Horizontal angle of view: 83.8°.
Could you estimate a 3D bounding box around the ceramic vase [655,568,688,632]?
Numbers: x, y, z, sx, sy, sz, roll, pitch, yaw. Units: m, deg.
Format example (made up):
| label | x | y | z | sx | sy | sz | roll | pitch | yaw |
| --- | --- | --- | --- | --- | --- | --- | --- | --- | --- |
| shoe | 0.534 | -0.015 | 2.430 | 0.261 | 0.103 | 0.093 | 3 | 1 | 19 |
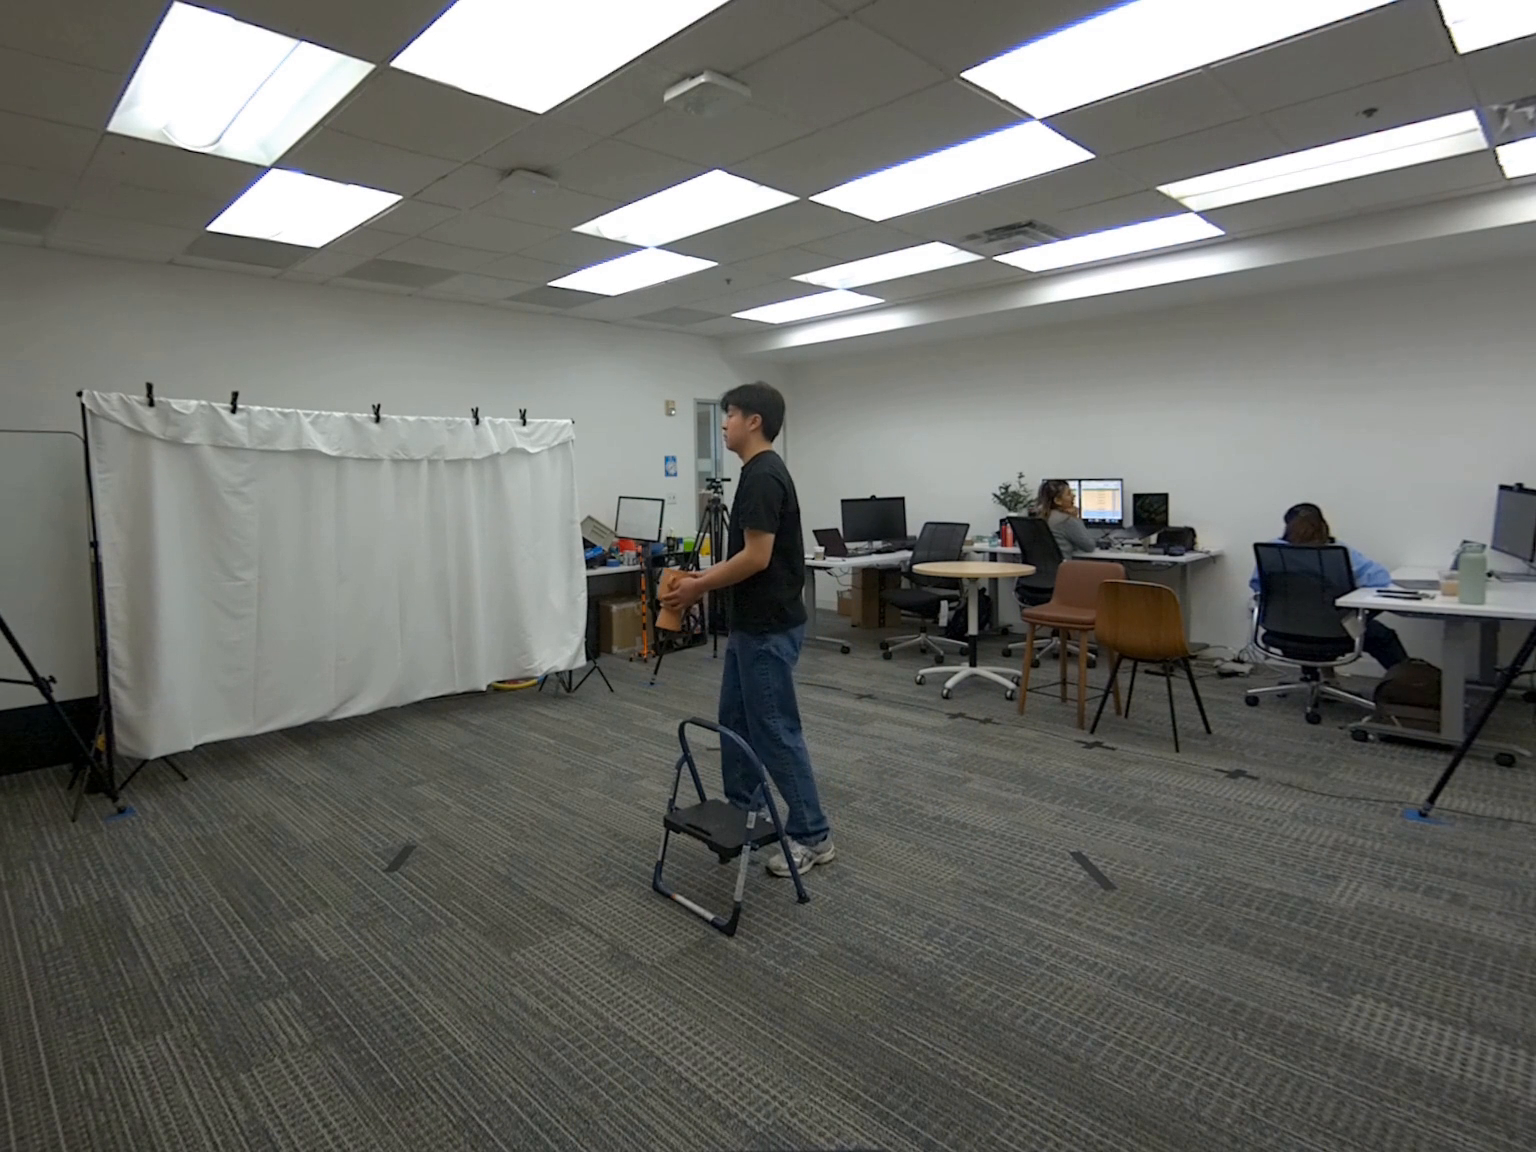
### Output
| label | x | y | z | sx | sy | sz | roll | pitch | yaw |
| --- | --- | --- | --- | --- | --- | --- | --- | --- | --- |
| ceramic vase | -0.345 | 0.087 | 3.200 | 0.153 | 0.220 | 0.139 | 13 | -4 | -38 |
